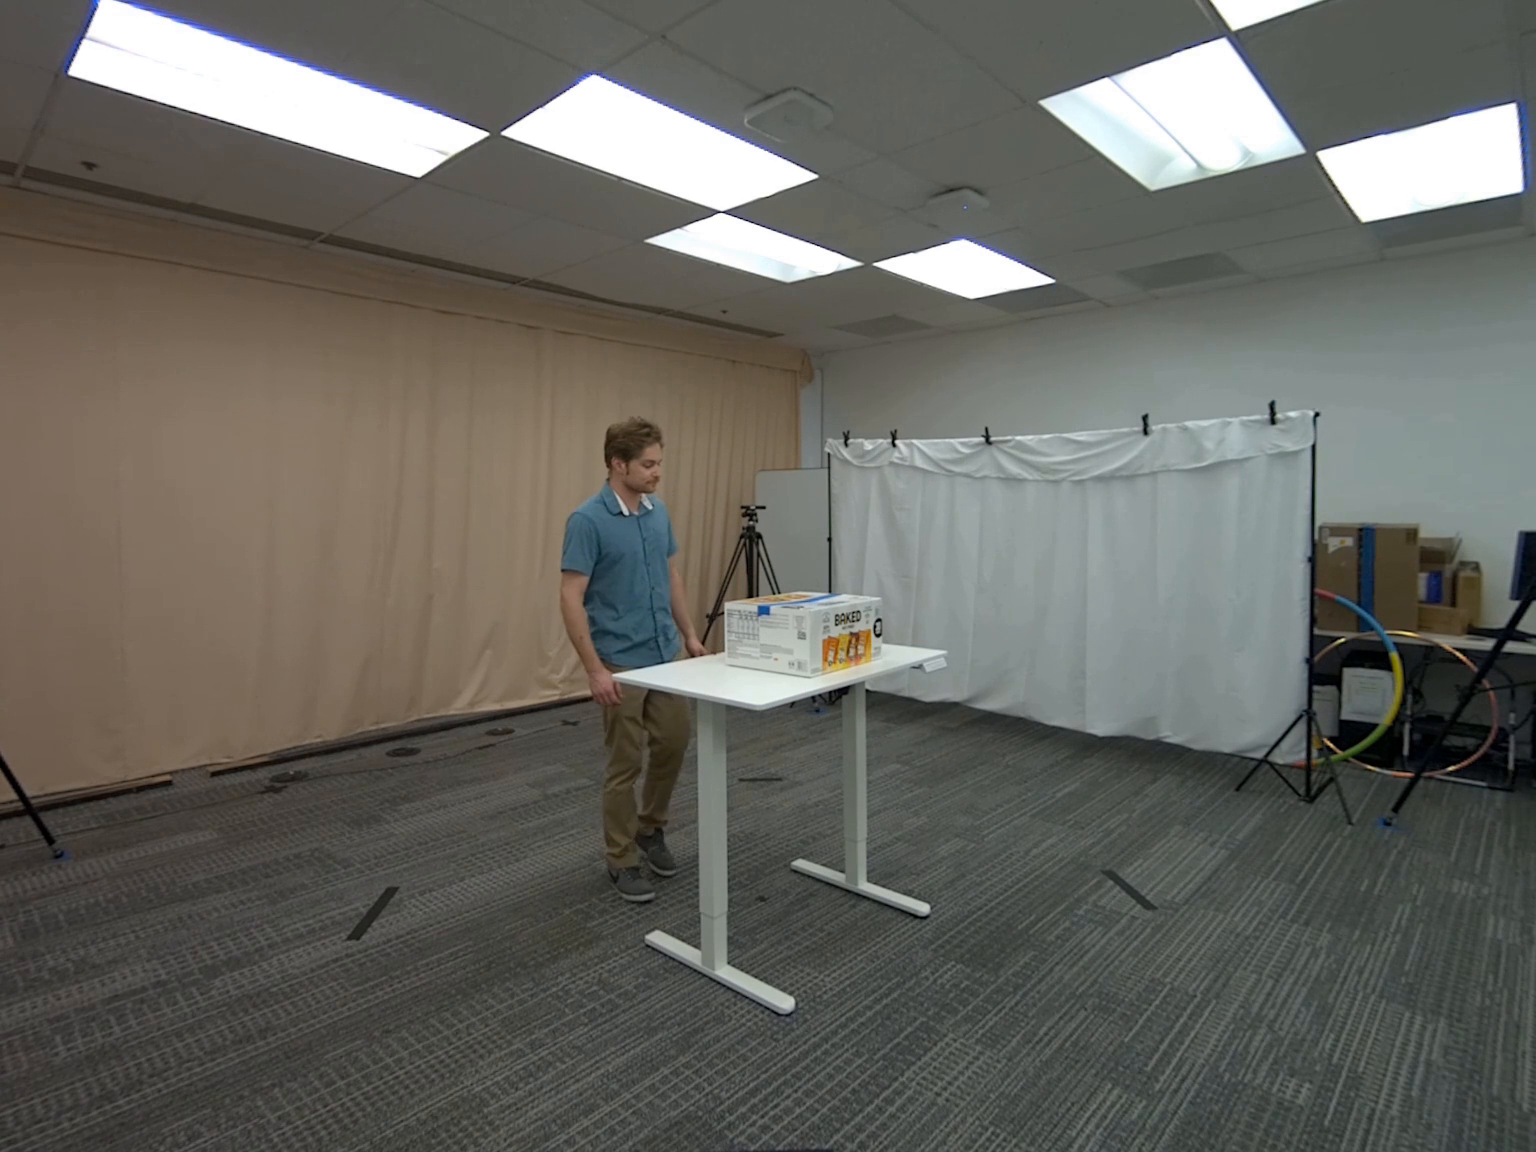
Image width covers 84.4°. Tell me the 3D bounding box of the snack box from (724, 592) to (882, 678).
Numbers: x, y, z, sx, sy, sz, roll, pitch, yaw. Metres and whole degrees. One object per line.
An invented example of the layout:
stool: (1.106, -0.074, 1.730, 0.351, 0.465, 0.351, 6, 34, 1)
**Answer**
snack box: (0.122, 0.180, 2.730, 0.351, 0.205, 0.393, 2, 5, 40)
